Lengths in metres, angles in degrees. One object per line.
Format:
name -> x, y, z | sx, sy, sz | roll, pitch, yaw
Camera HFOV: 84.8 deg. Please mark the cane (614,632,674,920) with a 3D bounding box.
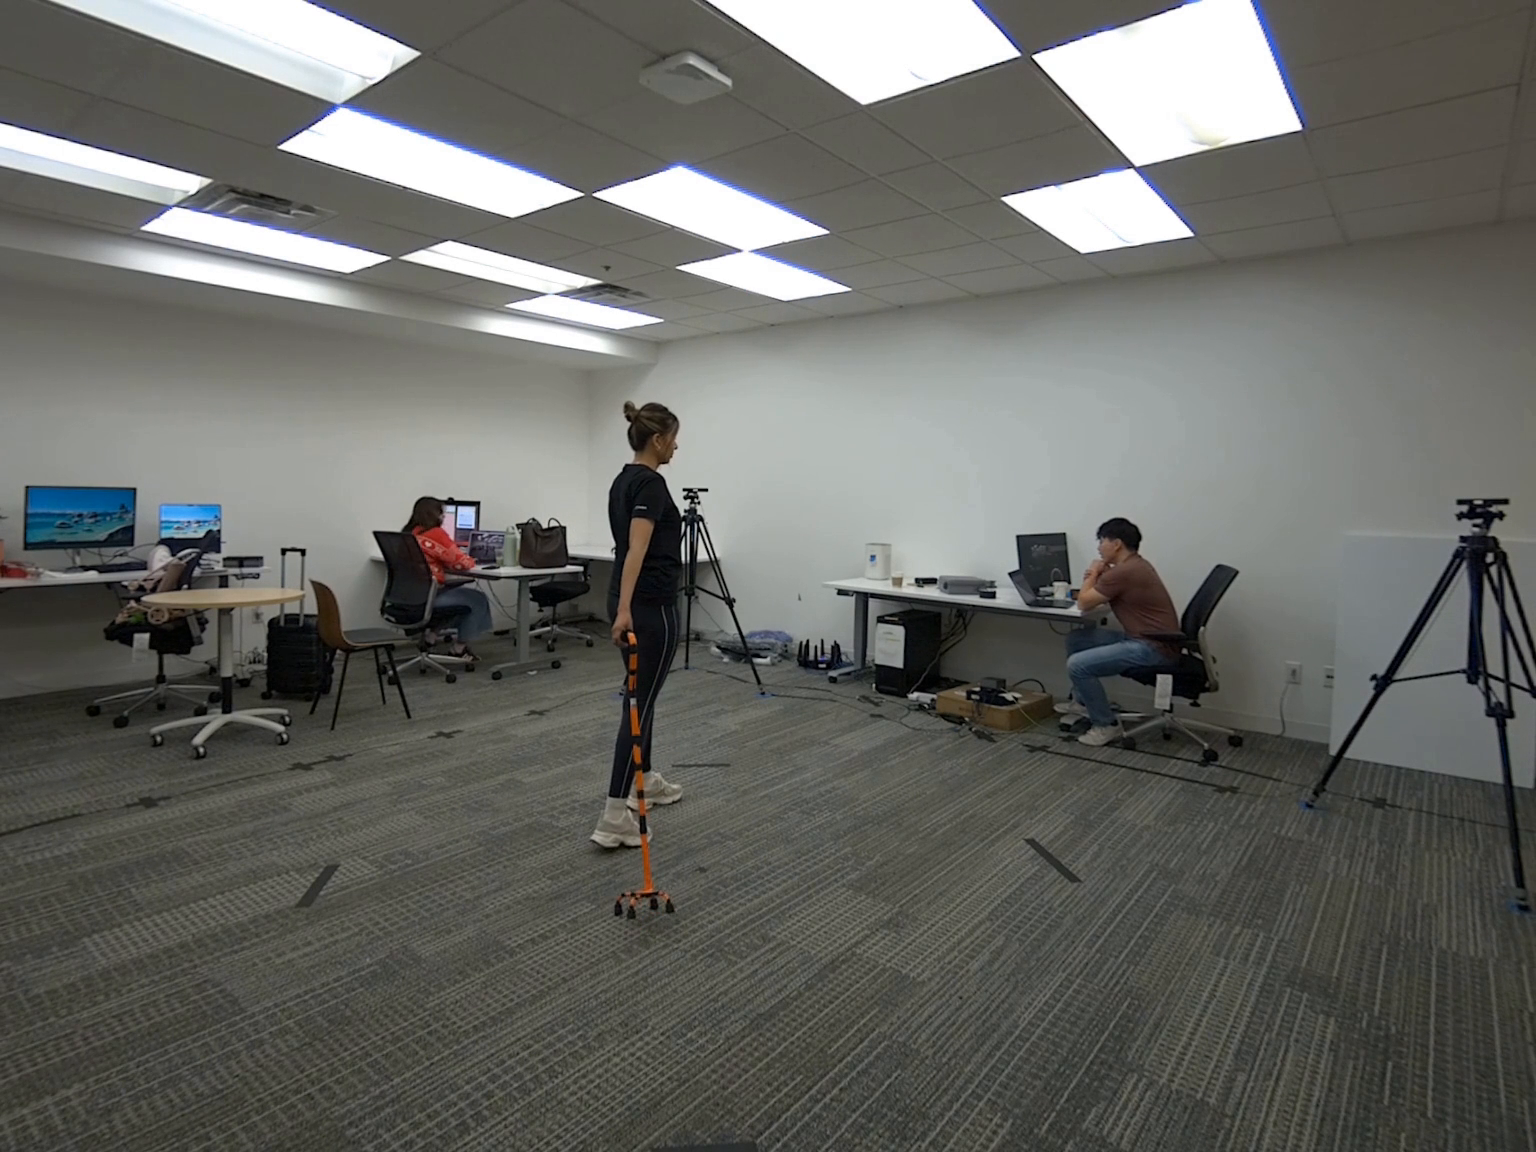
cane -> -0.452, 0.634, 2.830 | 0.148, 0.922, 0.207 | 0, -16, -21
